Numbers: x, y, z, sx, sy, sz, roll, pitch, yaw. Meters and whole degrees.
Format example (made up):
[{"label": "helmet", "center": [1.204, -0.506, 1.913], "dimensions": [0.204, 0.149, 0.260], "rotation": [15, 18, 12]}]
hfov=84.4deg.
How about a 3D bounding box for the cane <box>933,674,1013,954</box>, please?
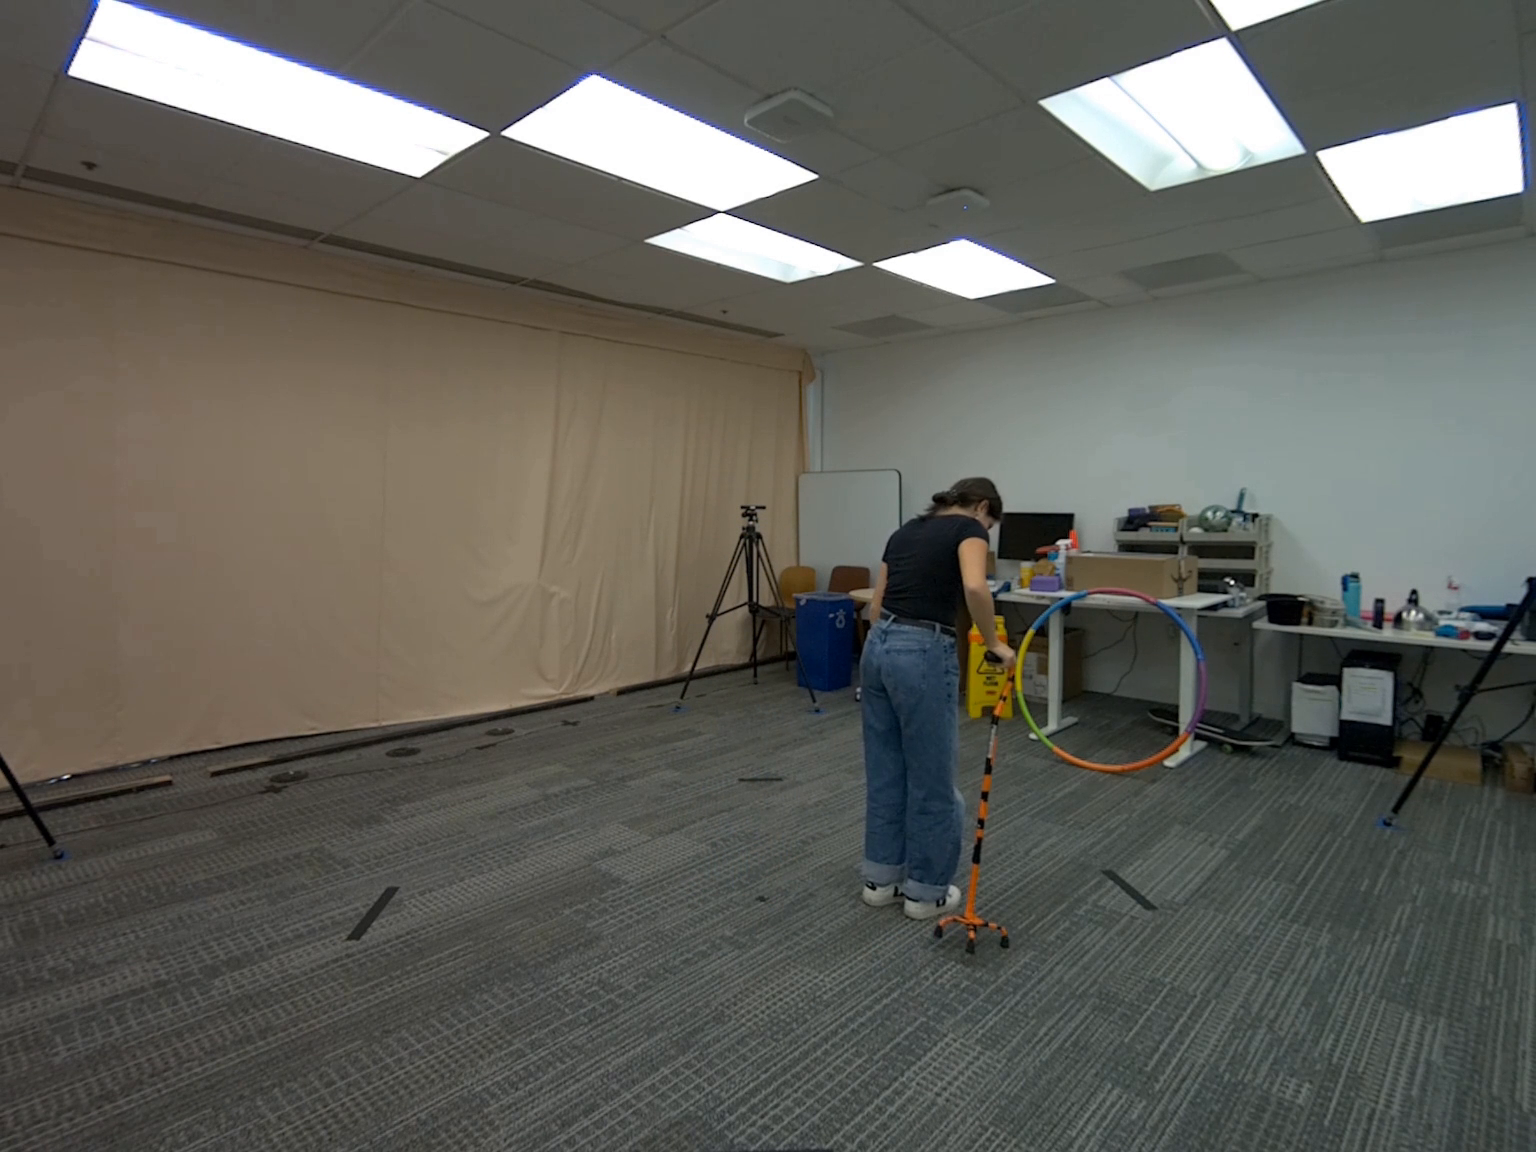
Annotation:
[{"label": "cane", "center": [0.722, 0.708, 2.683], "dimensions": [0.199, 0.909, 0.157], "rotation": [12, -5, -41]}]
